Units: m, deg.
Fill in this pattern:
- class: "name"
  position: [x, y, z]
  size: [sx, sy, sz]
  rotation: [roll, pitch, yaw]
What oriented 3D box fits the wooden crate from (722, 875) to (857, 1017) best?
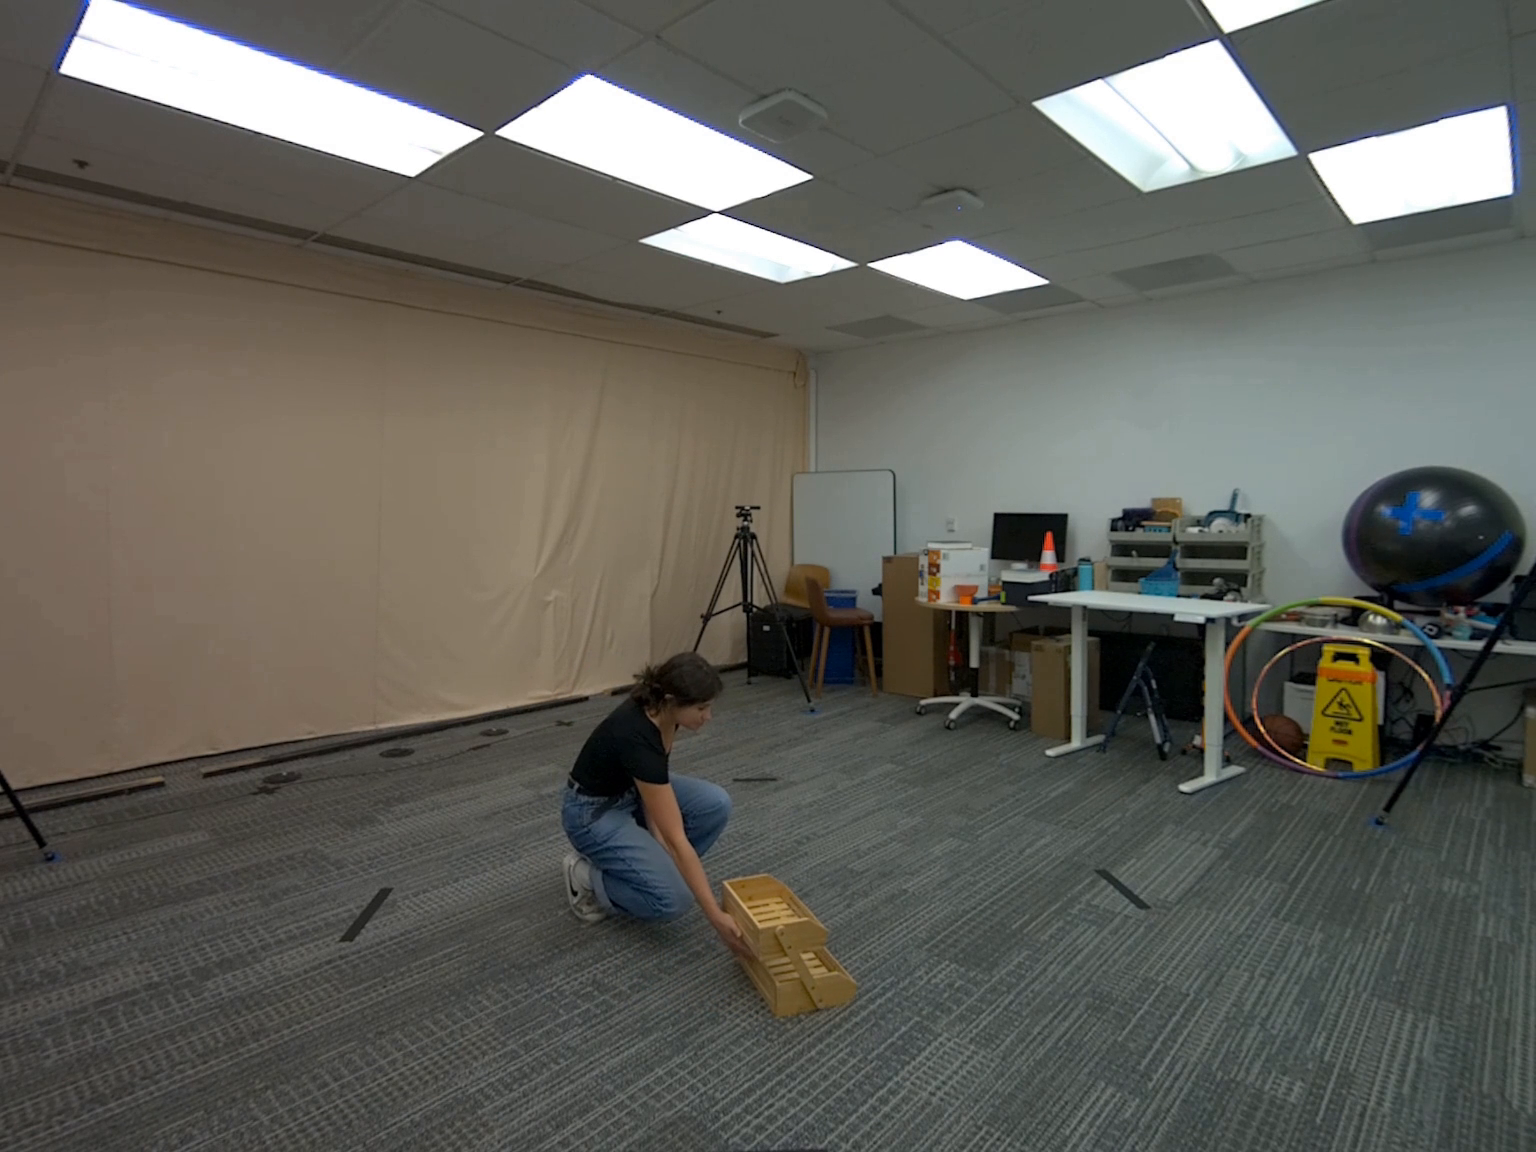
- class: "wooden crate"
  position: [0.067, 1.055, 2.450]
  size: [0.296, 0.273, 0.332]
  rotation: [-1, 4, -22]
